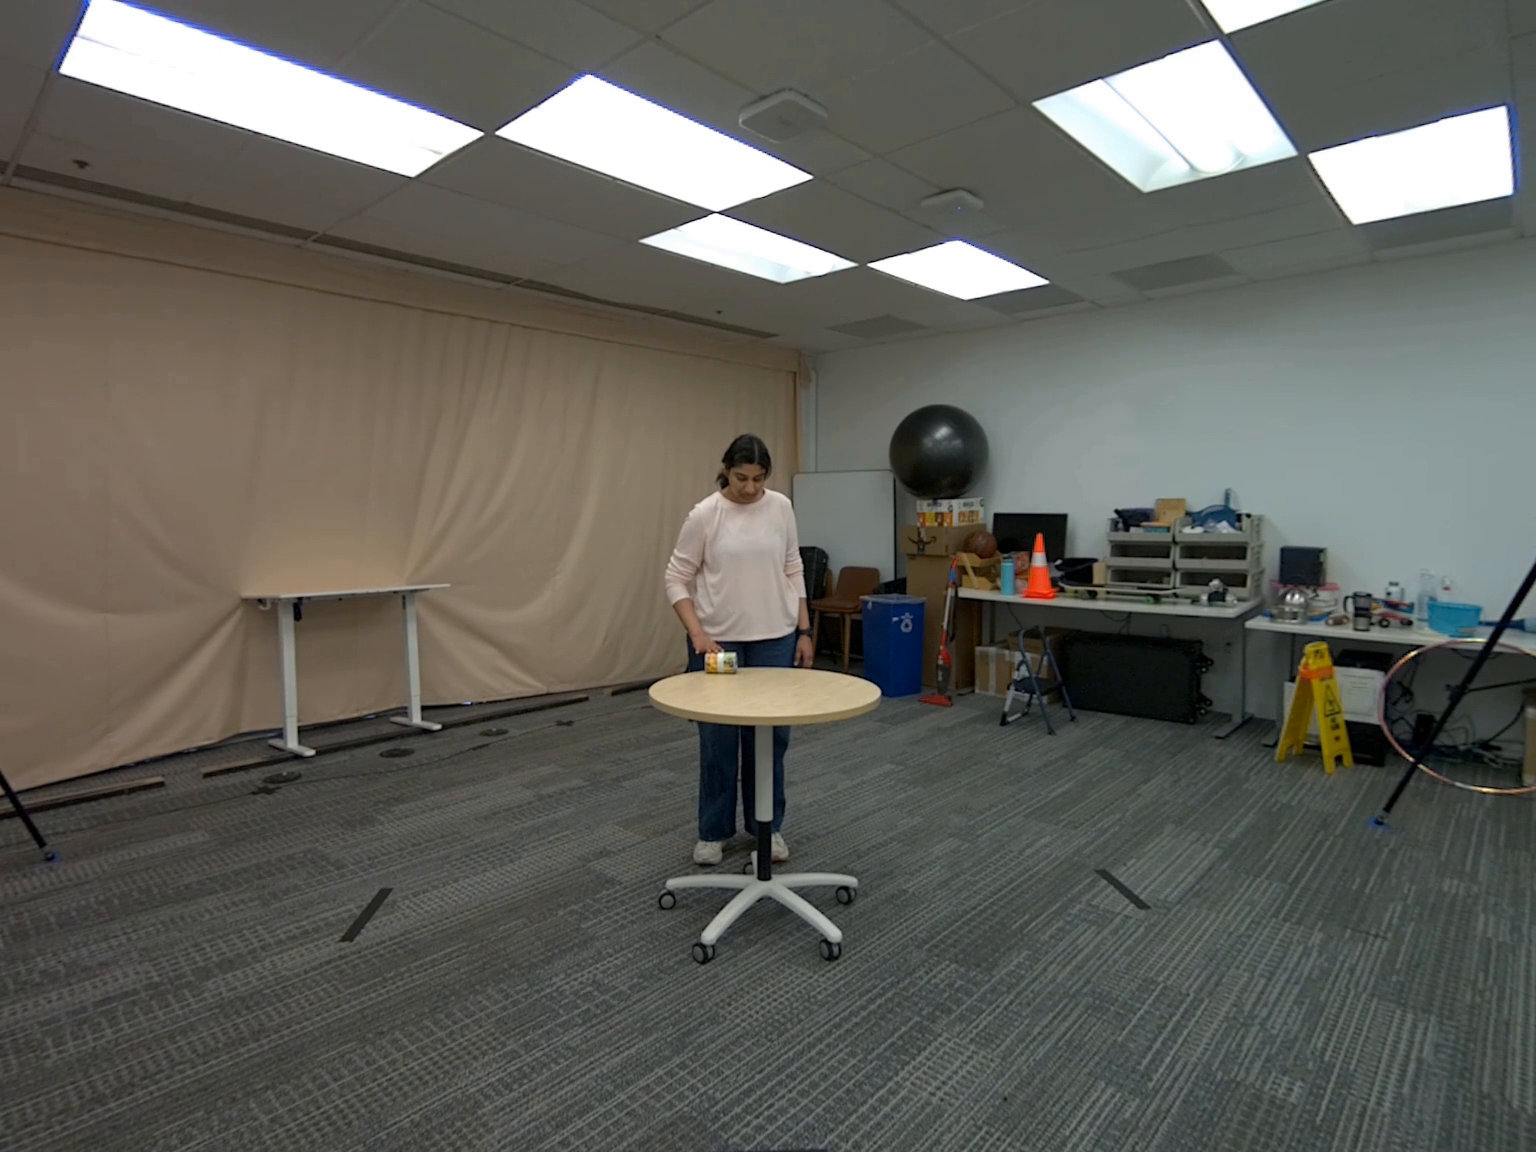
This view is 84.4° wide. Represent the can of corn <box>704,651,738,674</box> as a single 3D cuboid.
[{"bbox_3d":[-0.166,0.317,3.075,0.111,0.074,0.074,0,4,2],"label":"can of corn"}]
